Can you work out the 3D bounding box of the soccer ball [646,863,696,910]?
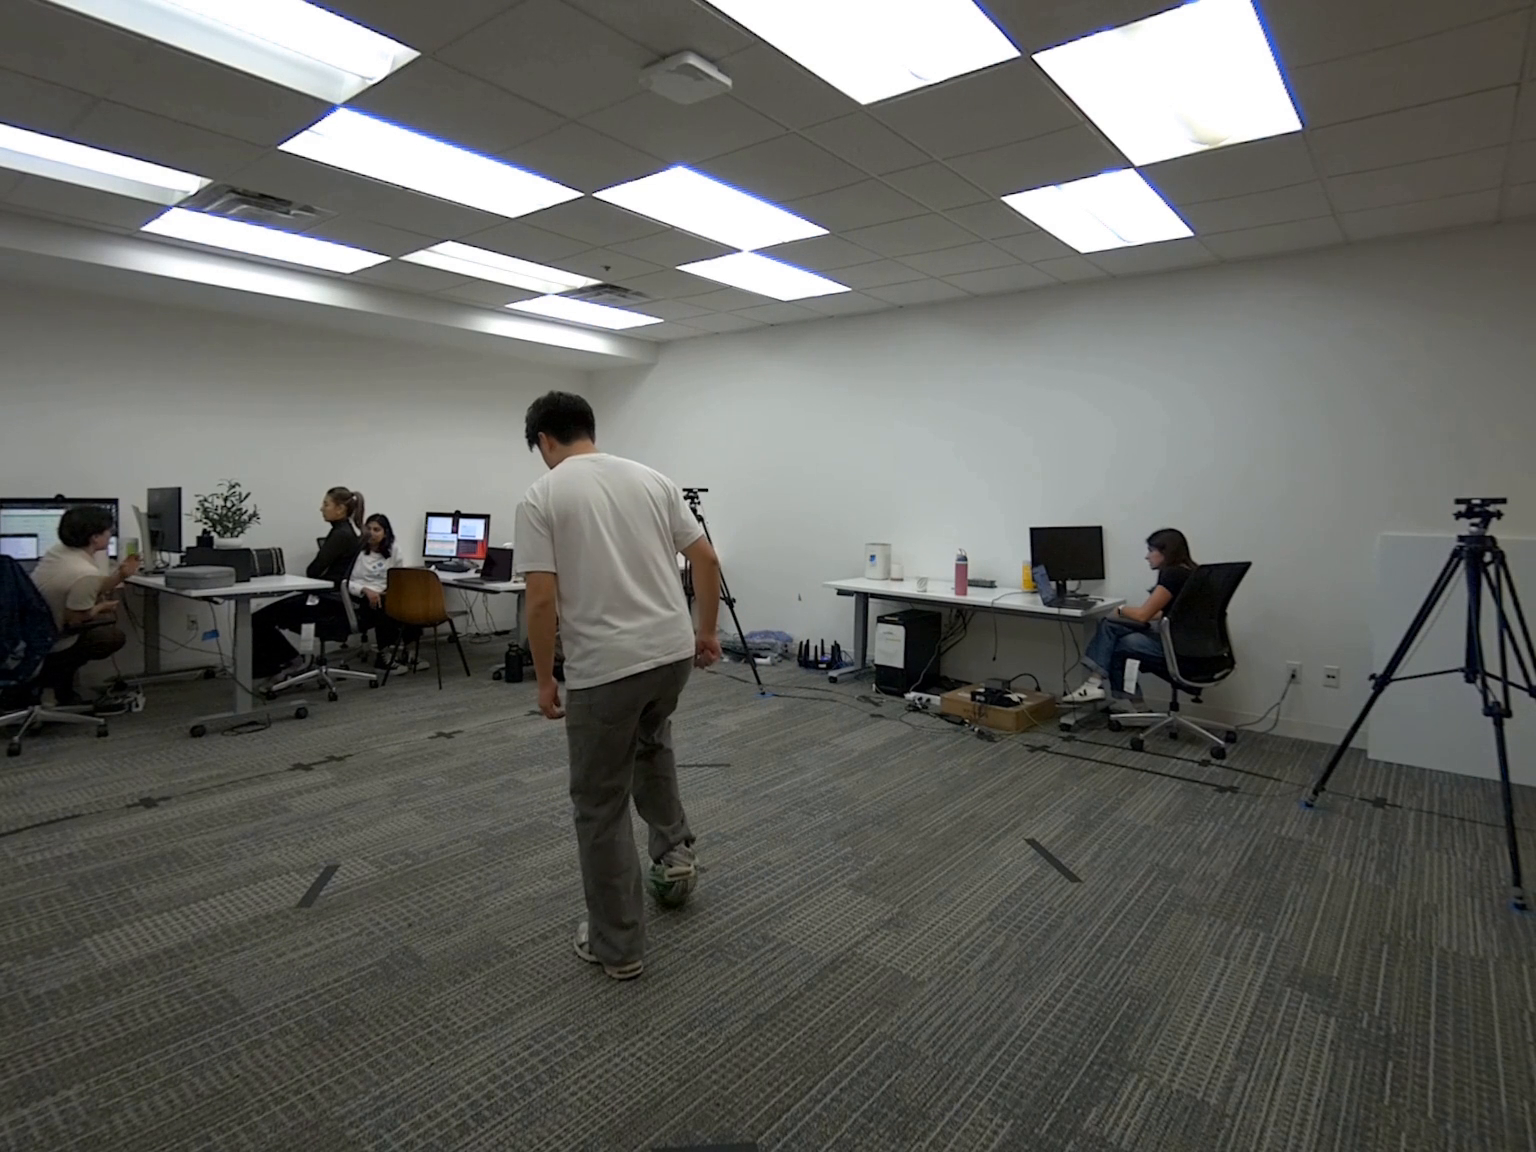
[{"bbox_3d":[-0.321,0.996,2.854,0.187,0.187,0.188,1,4,-2],"label":"soccer ball"}]
